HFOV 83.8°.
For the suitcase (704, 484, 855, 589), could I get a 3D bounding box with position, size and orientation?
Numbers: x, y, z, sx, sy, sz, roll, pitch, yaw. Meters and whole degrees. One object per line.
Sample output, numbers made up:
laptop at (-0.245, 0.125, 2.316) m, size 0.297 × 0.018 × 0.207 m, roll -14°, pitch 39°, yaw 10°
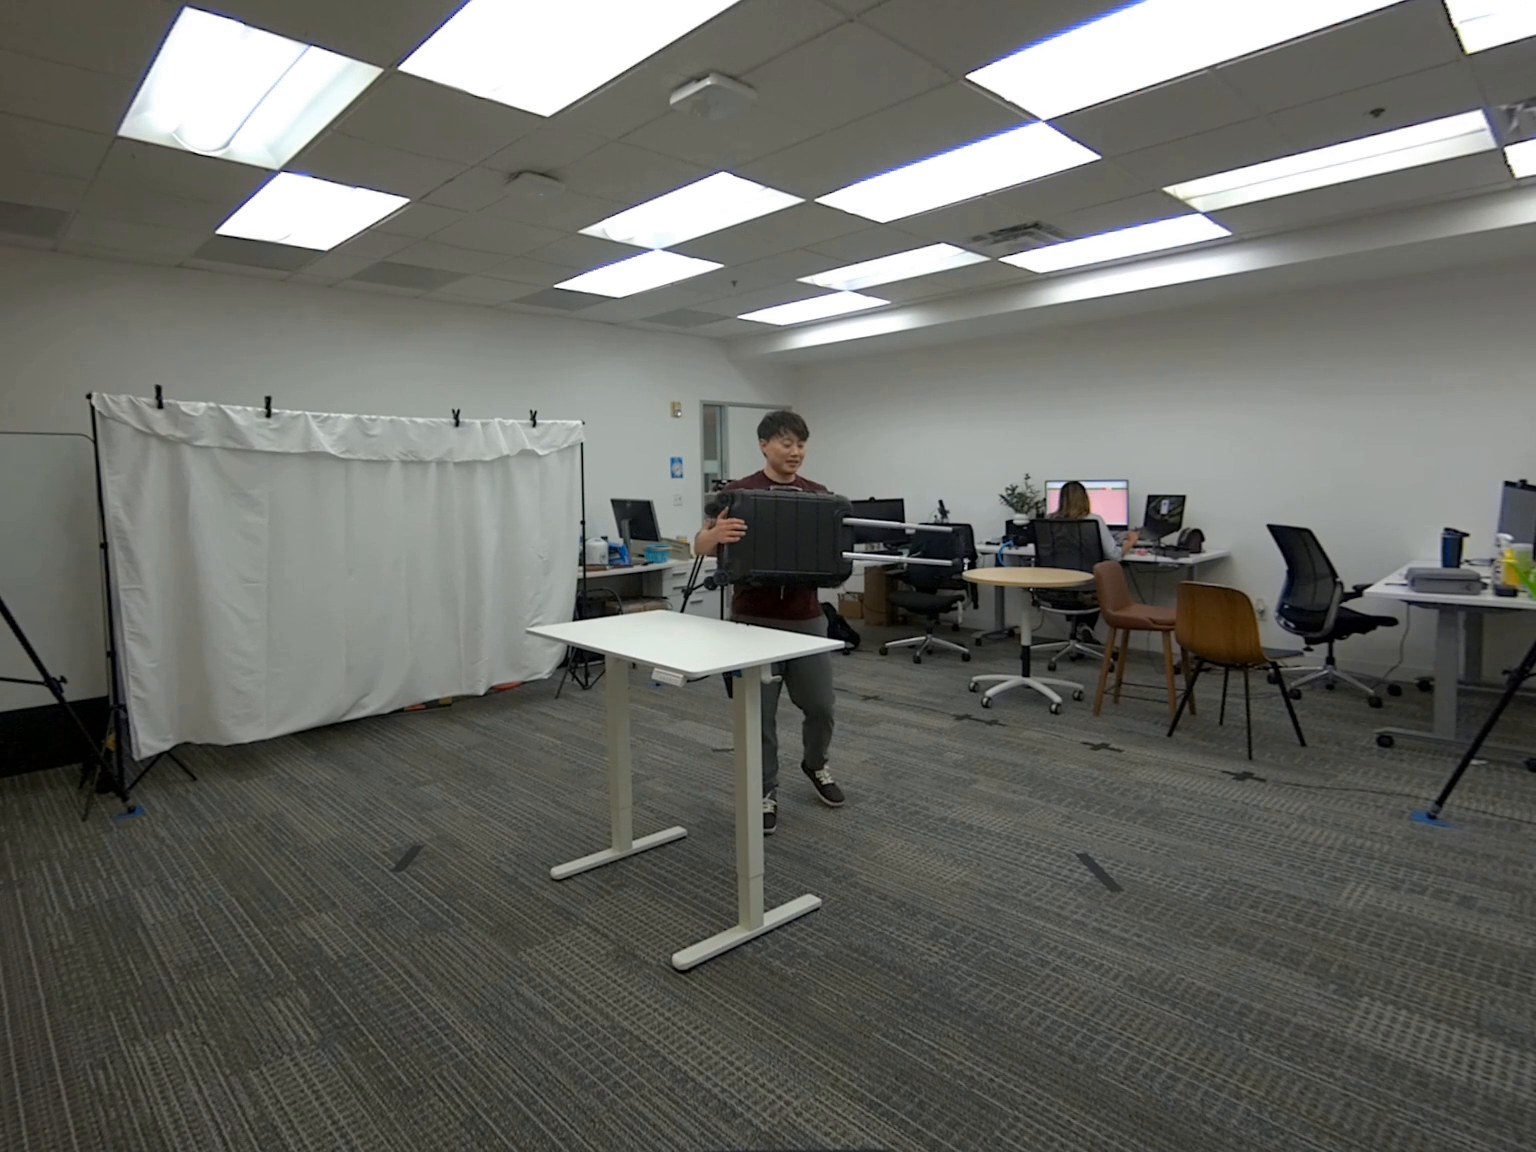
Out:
suitcase at (0.249, -0.136, 3.296) m, size 0.969 × 0.386 × 0.258 m, roll 0°, pitch -7°, yaw -10°
